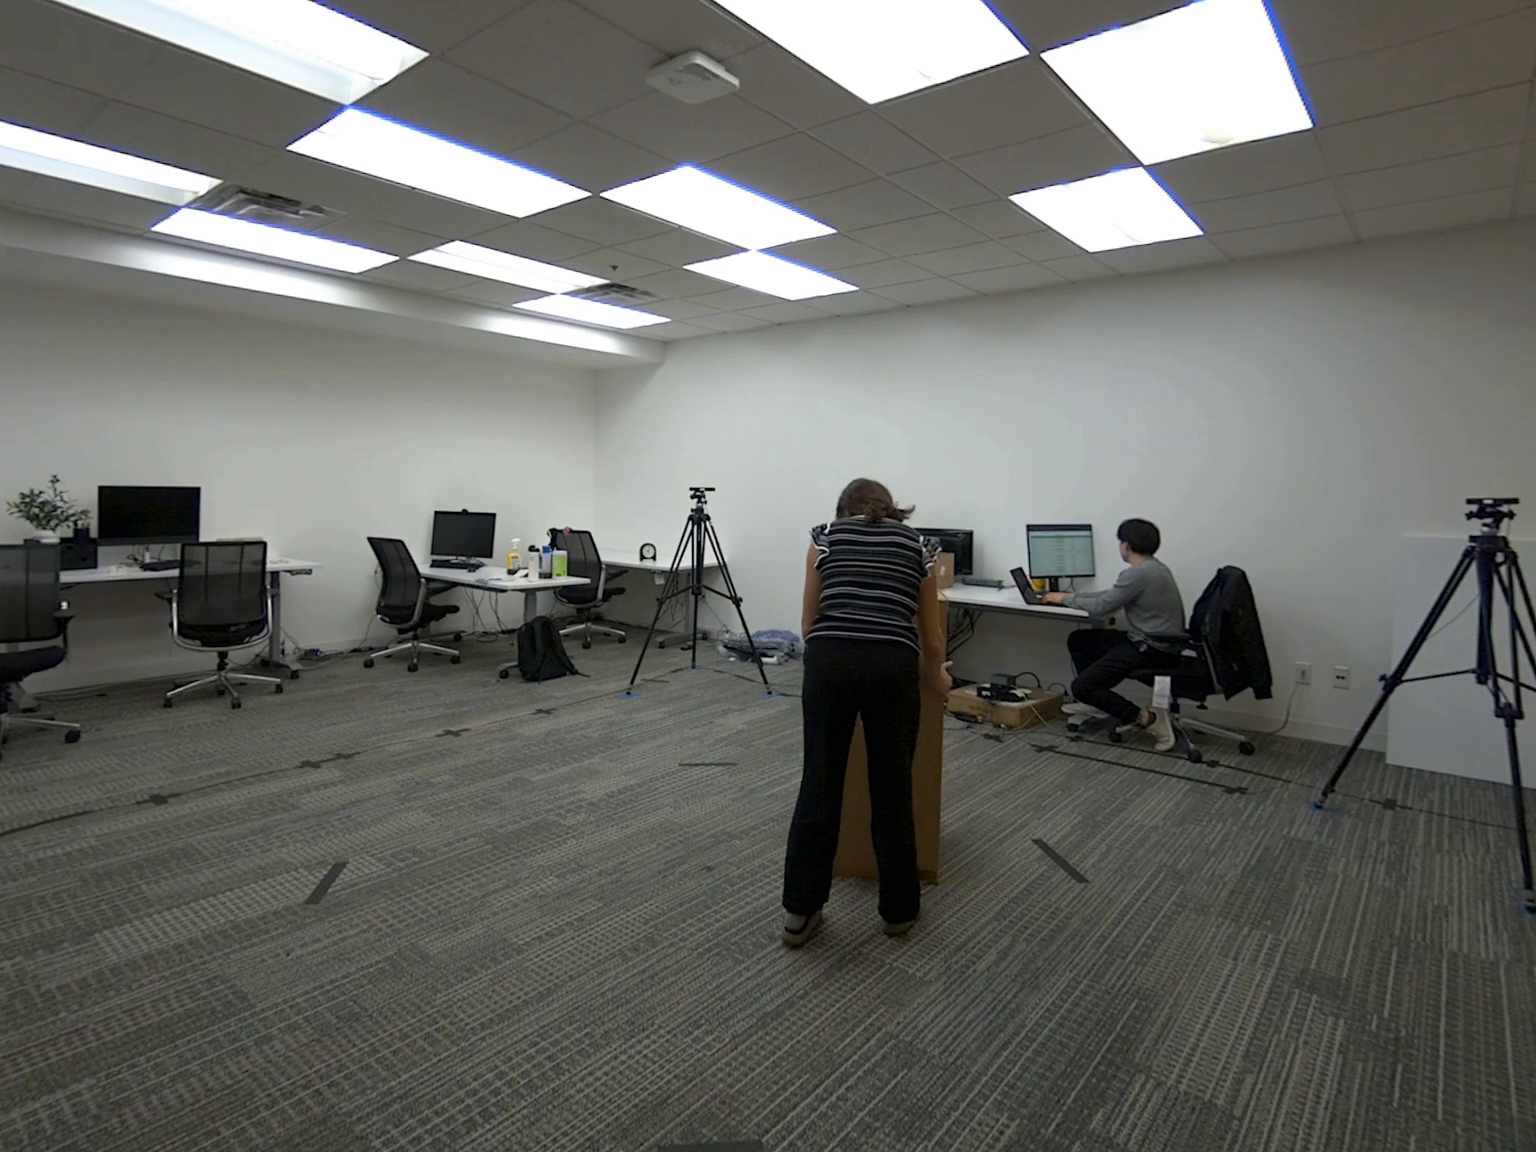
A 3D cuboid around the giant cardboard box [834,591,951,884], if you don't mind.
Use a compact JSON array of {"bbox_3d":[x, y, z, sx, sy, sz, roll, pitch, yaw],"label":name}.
[{"bbox_3d":[0.418,0.548,3.298,0.429,1.022,0.576,1,4,5],"label":"giant cardboard box"}]
